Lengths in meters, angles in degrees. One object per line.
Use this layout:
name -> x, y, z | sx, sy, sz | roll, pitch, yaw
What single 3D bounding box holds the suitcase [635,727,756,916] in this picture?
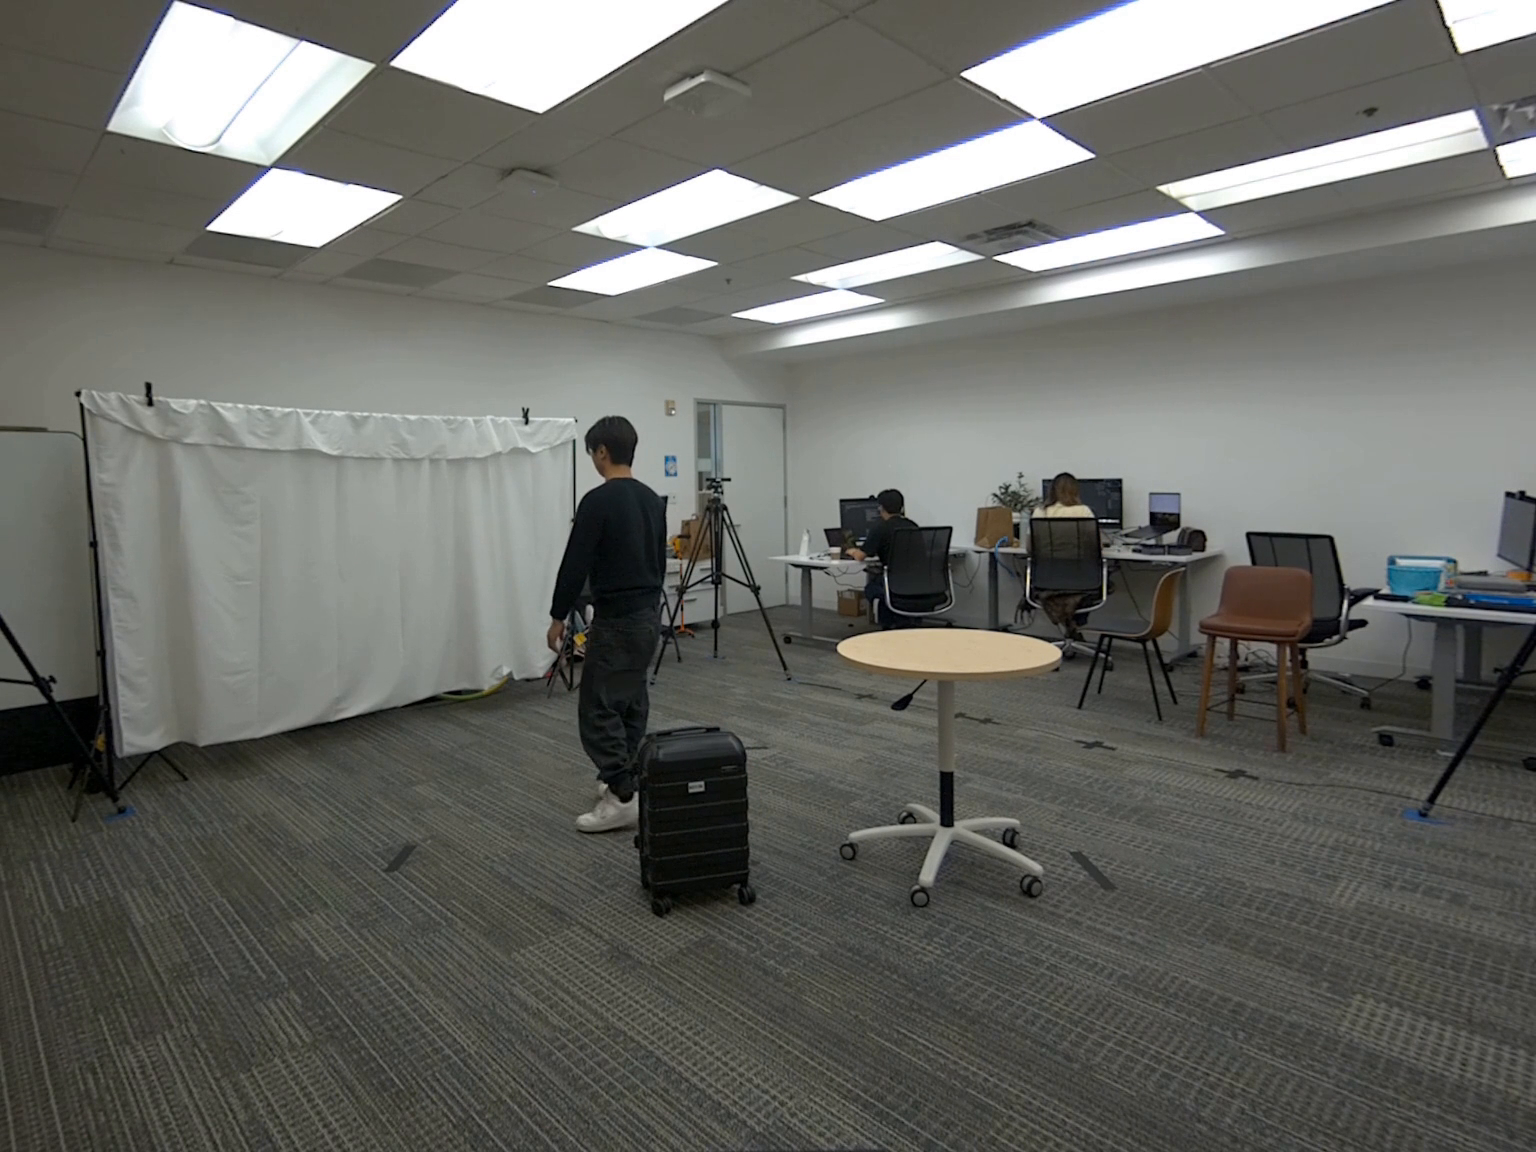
suitcase -> -0.248, 0.792, 2.879 | 0.370, 0.547, 0.253 | -2, 4, -16
